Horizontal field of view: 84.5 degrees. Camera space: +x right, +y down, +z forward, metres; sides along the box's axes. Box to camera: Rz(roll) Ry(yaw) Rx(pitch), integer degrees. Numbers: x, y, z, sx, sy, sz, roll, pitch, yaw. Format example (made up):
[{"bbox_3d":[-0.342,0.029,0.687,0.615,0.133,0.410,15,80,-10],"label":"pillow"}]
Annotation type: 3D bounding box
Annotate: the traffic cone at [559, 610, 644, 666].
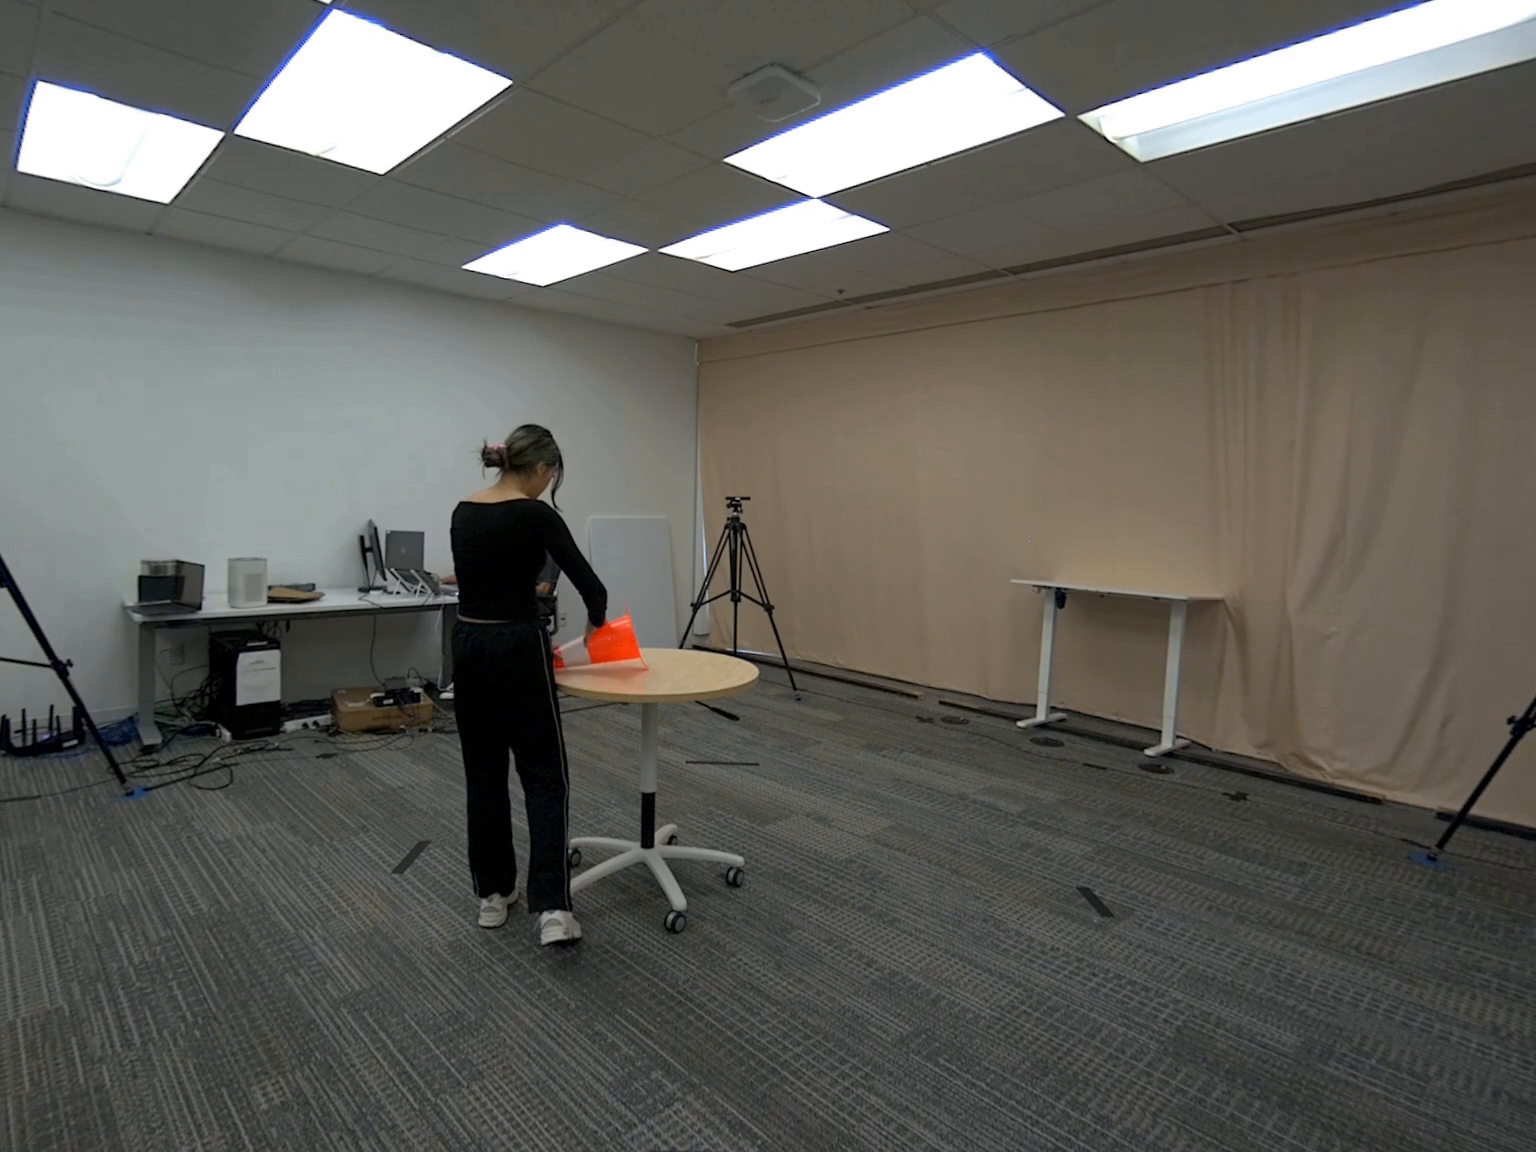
[{"bbox_3d":[-0.654,0.263,2.901,0.381,0.209,0.200,-16,-34,-10],"label":"traffic cone"}]
